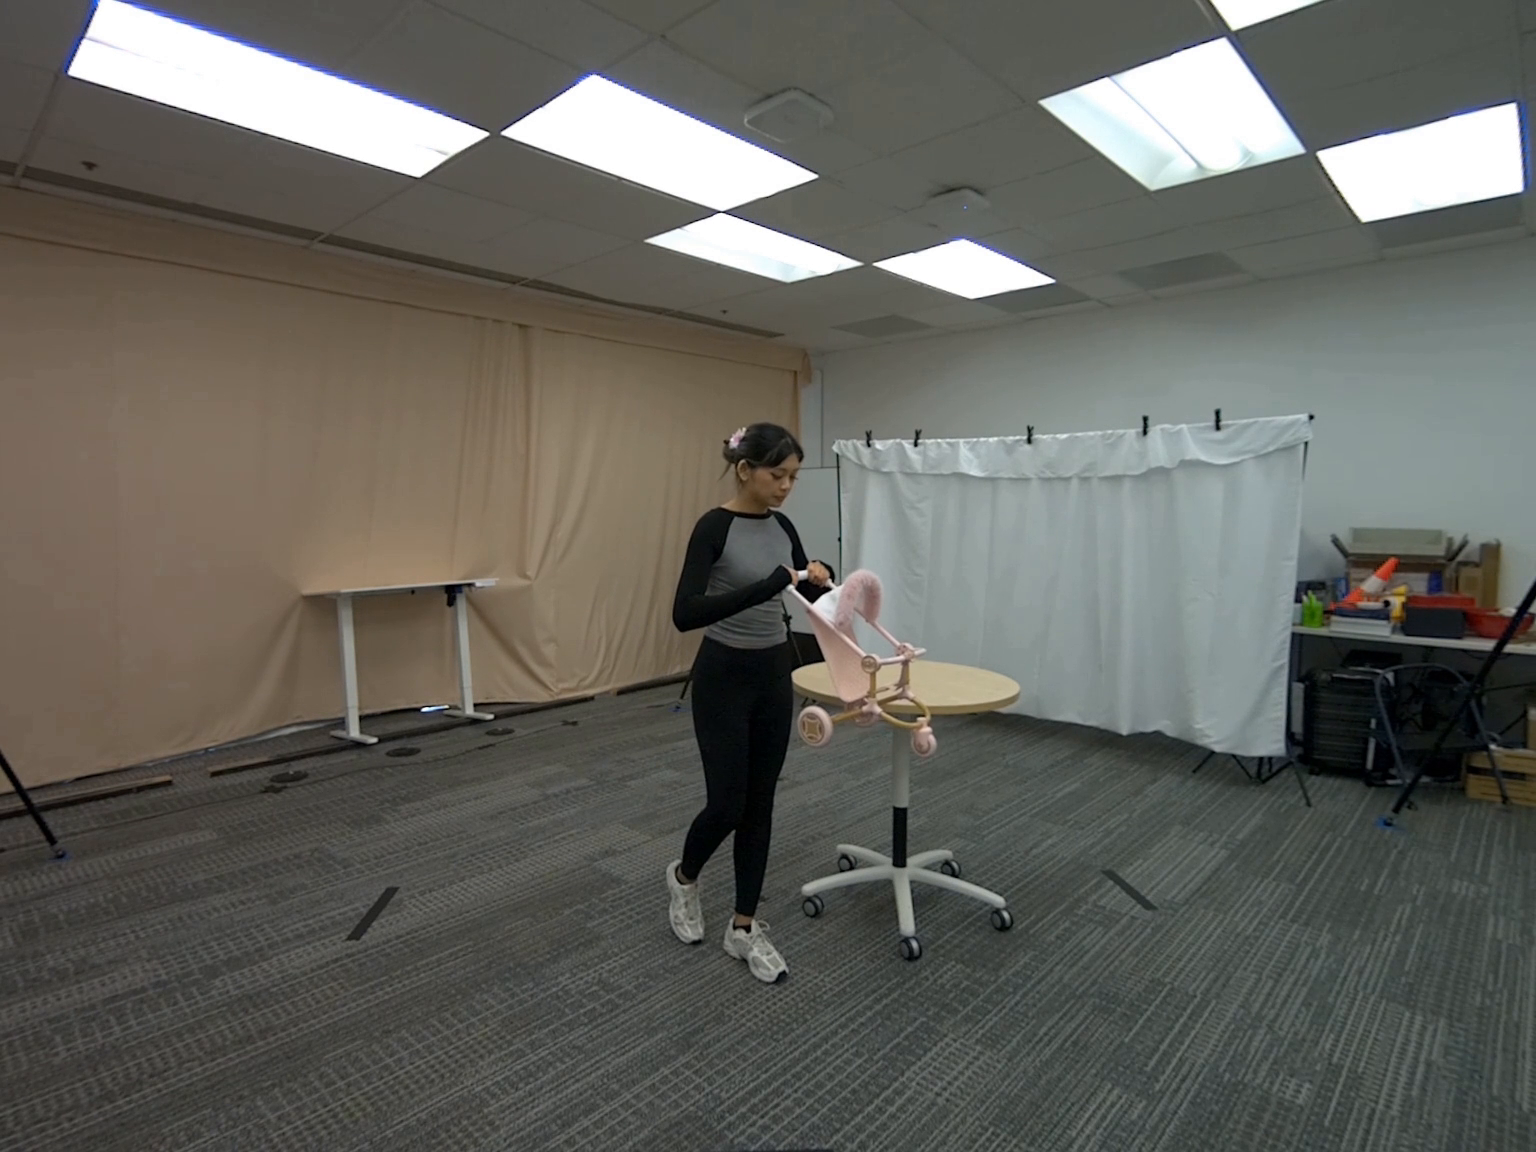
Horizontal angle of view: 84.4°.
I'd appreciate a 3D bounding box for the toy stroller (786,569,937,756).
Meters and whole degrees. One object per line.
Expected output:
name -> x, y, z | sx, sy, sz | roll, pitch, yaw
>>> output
toy stroller -> 0.259, 0.223, 2.244 | 0.350, 0.537, 0.273 | -15, -6, 42
